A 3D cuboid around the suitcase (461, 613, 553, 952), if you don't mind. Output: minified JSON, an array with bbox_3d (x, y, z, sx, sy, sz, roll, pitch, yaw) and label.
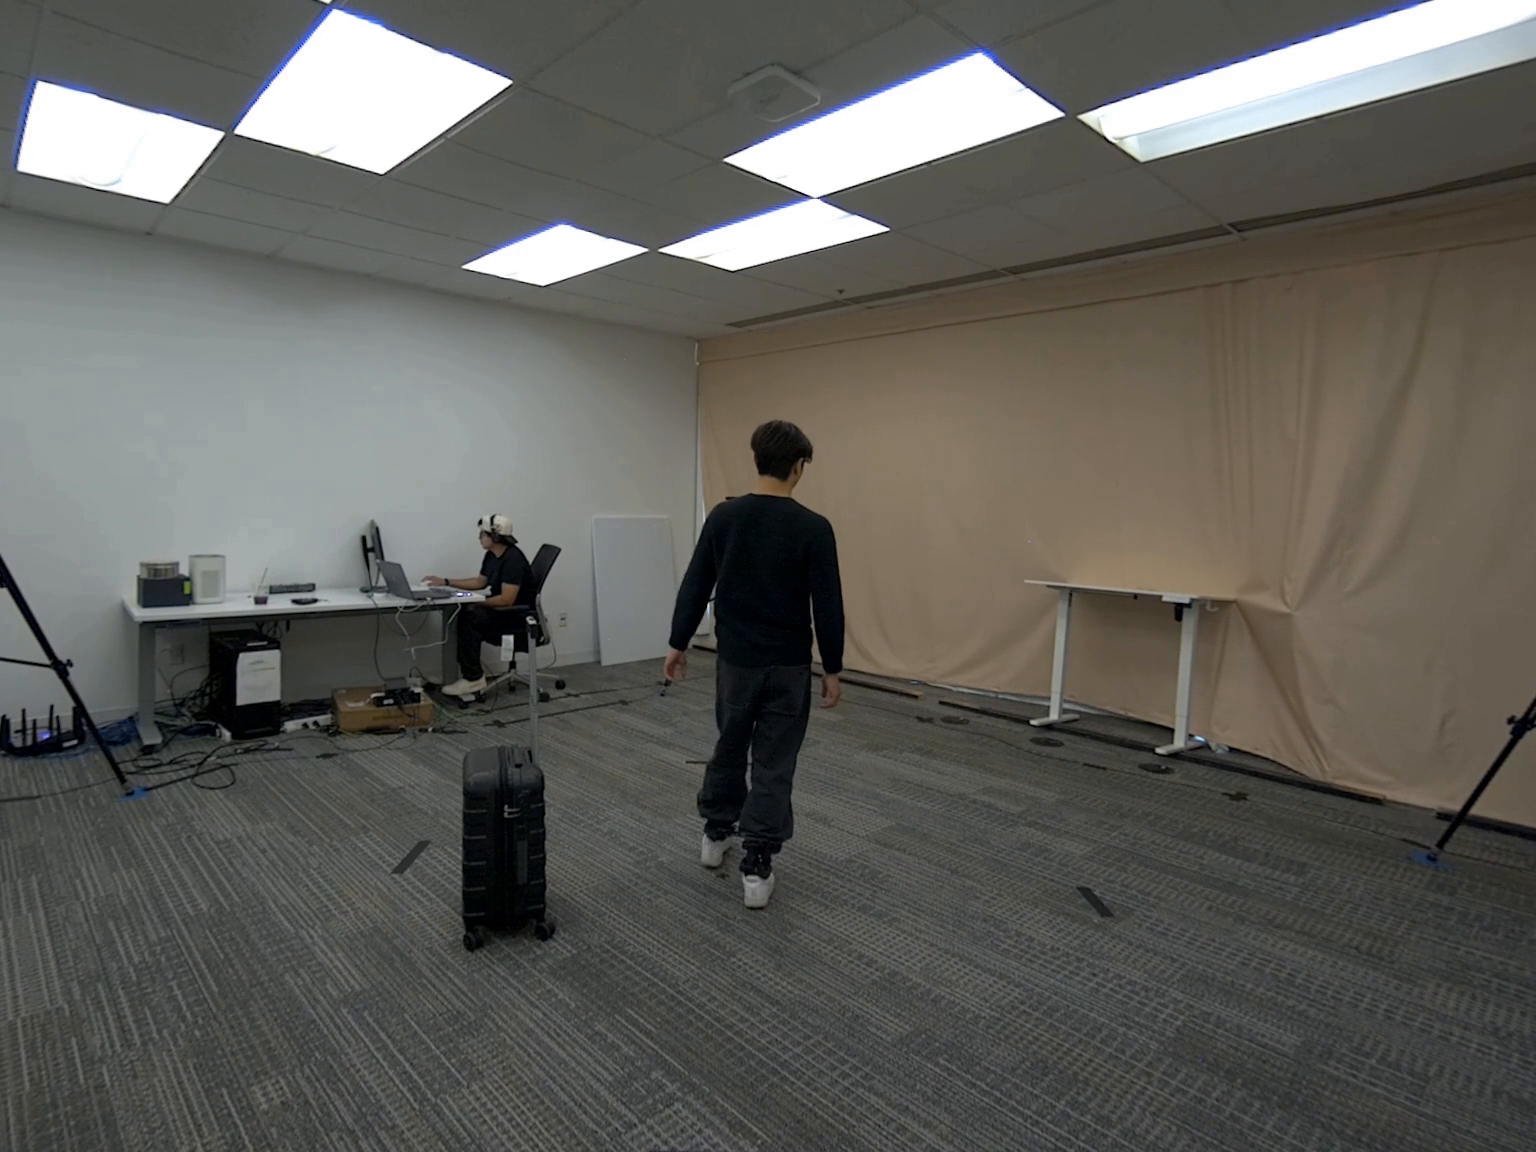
[{"bbox_3d":[-0.872,0.650,2.720,0.254,0.976,0.389,-2,4,-16],"label":"suitcase"}]
